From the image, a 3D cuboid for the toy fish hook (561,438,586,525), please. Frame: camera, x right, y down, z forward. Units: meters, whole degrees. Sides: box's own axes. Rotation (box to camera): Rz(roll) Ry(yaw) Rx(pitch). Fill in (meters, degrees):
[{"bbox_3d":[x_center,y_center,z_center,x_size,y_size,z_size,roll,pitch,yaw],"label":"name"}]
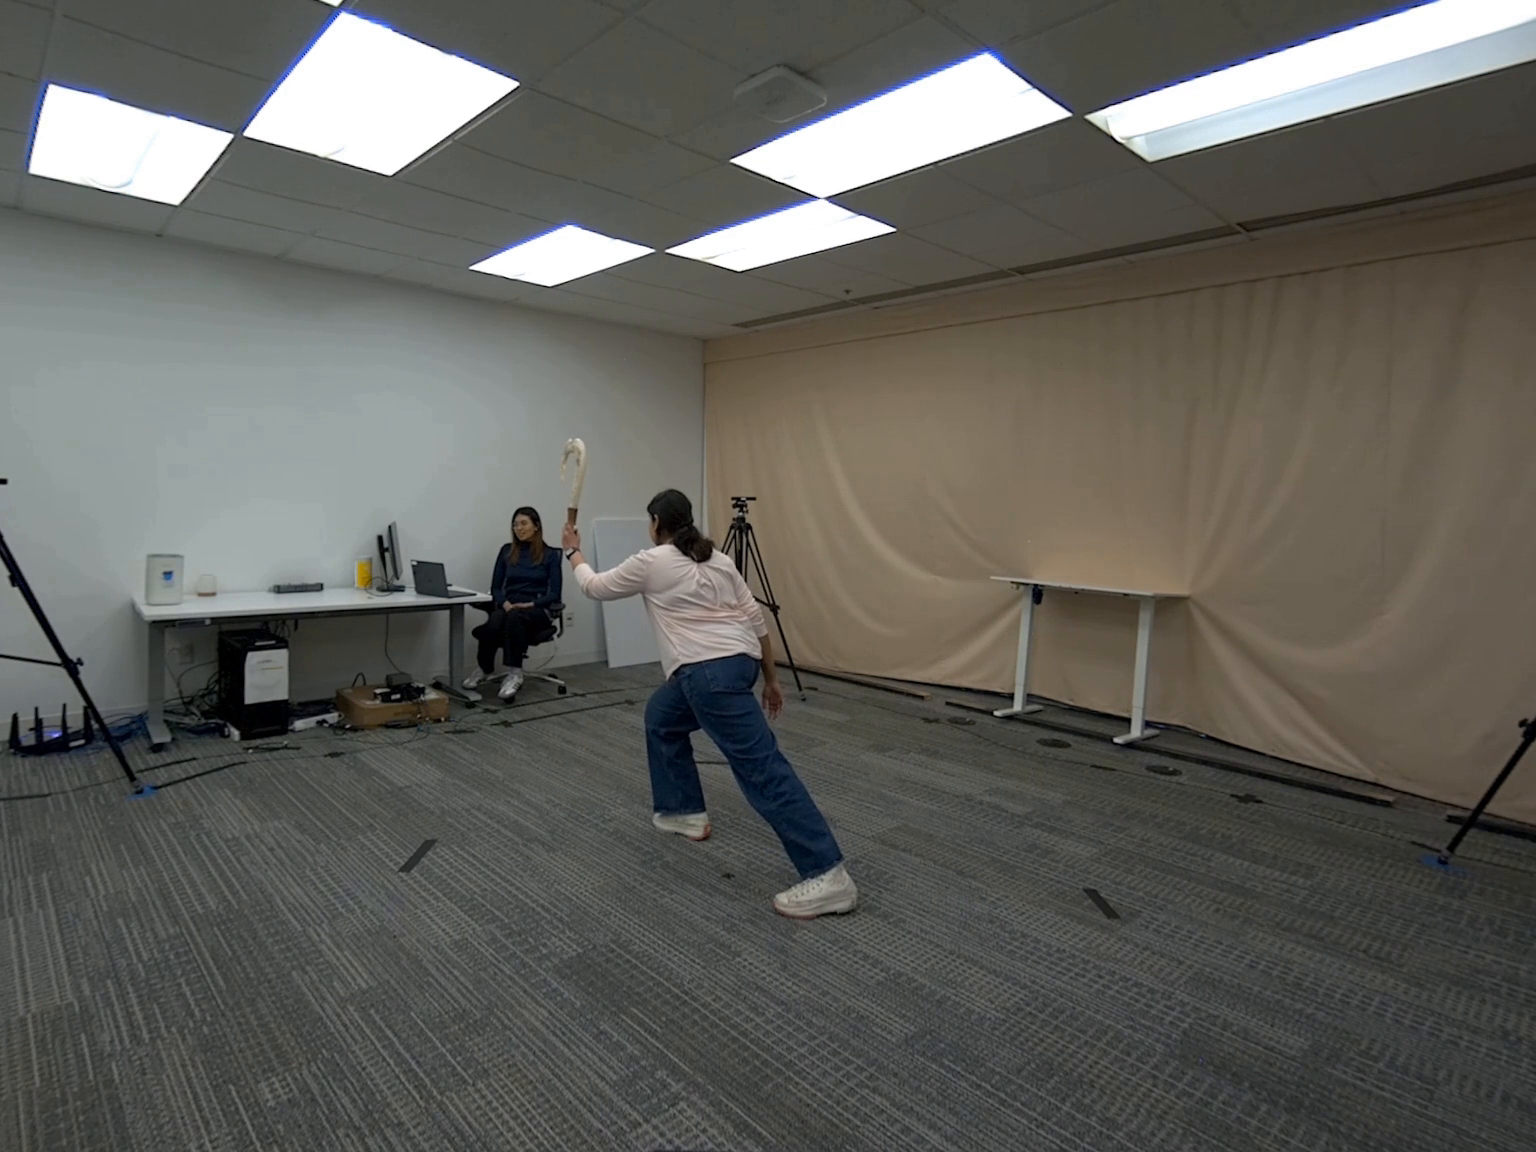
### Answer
[{"bbox_3d":[-0.880,-0.364,3.745,0.047,0.506,0.230,4,1,-33],"label":"toy fish hook"}]
